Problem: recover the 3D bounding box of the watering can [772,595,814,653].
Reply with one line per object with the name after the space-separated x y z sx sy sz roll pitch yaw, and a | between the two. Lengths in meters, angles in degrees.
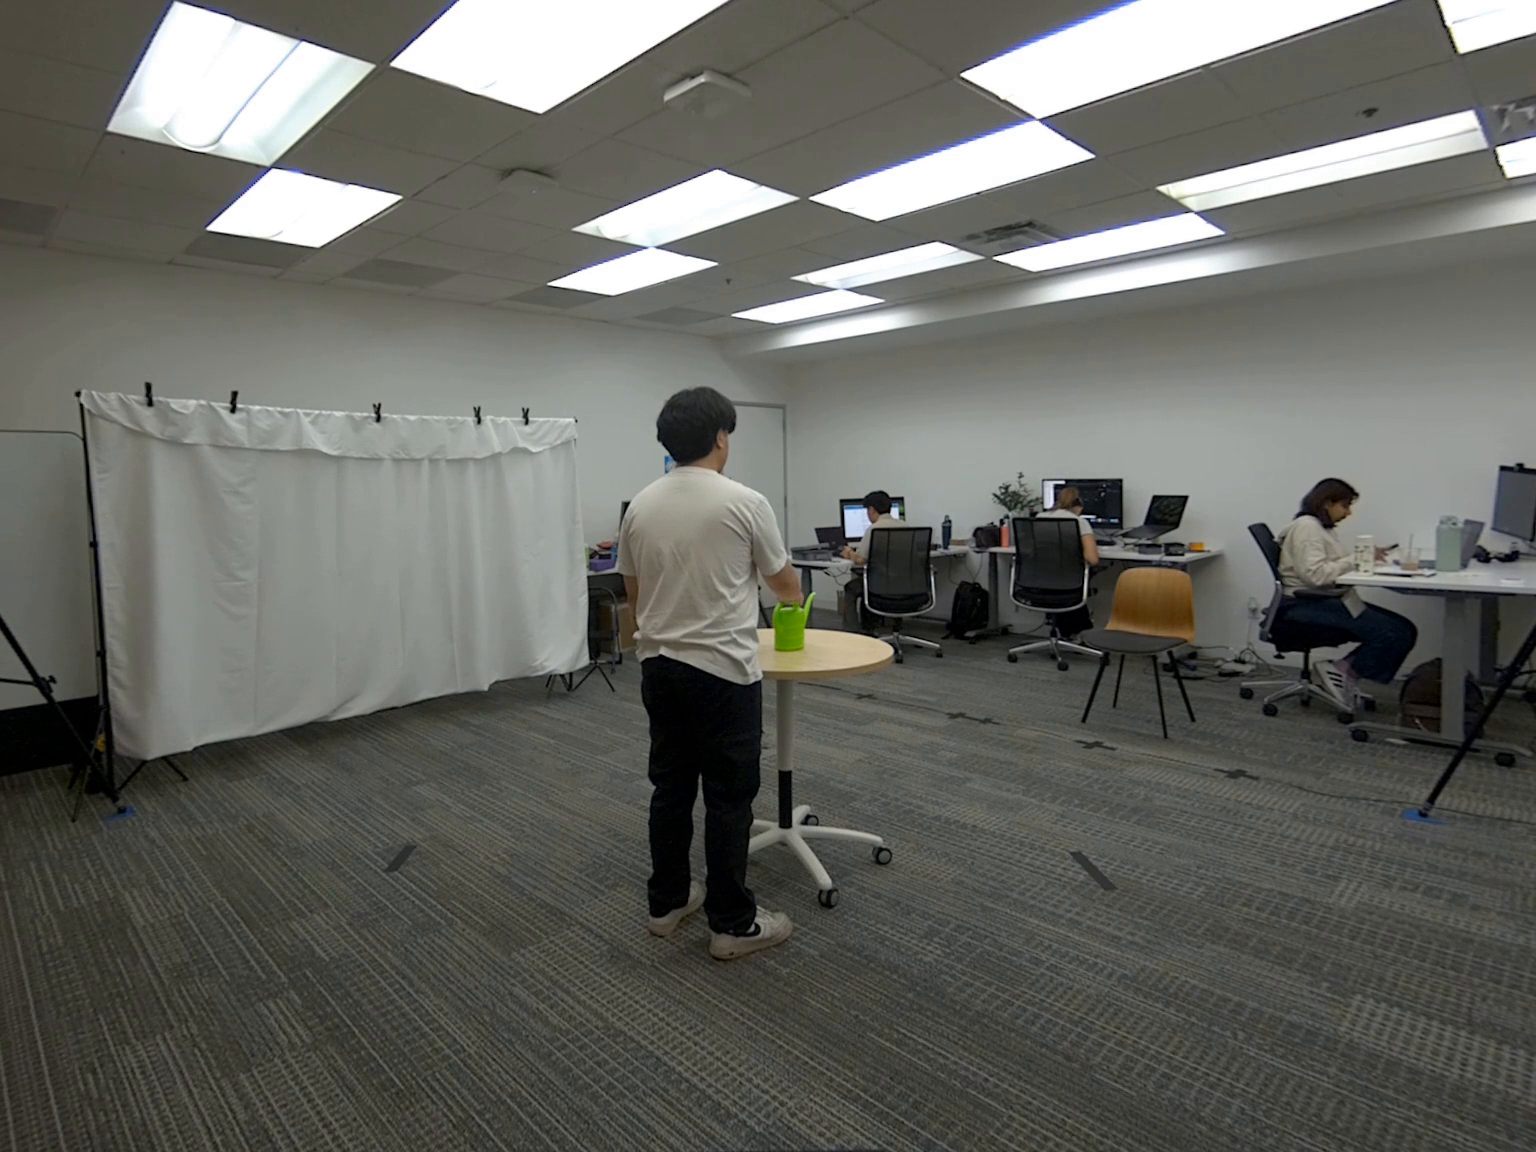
0.112 0.165 3.051 0.271 0.176 0.101 -10 10 -44 | watering can
